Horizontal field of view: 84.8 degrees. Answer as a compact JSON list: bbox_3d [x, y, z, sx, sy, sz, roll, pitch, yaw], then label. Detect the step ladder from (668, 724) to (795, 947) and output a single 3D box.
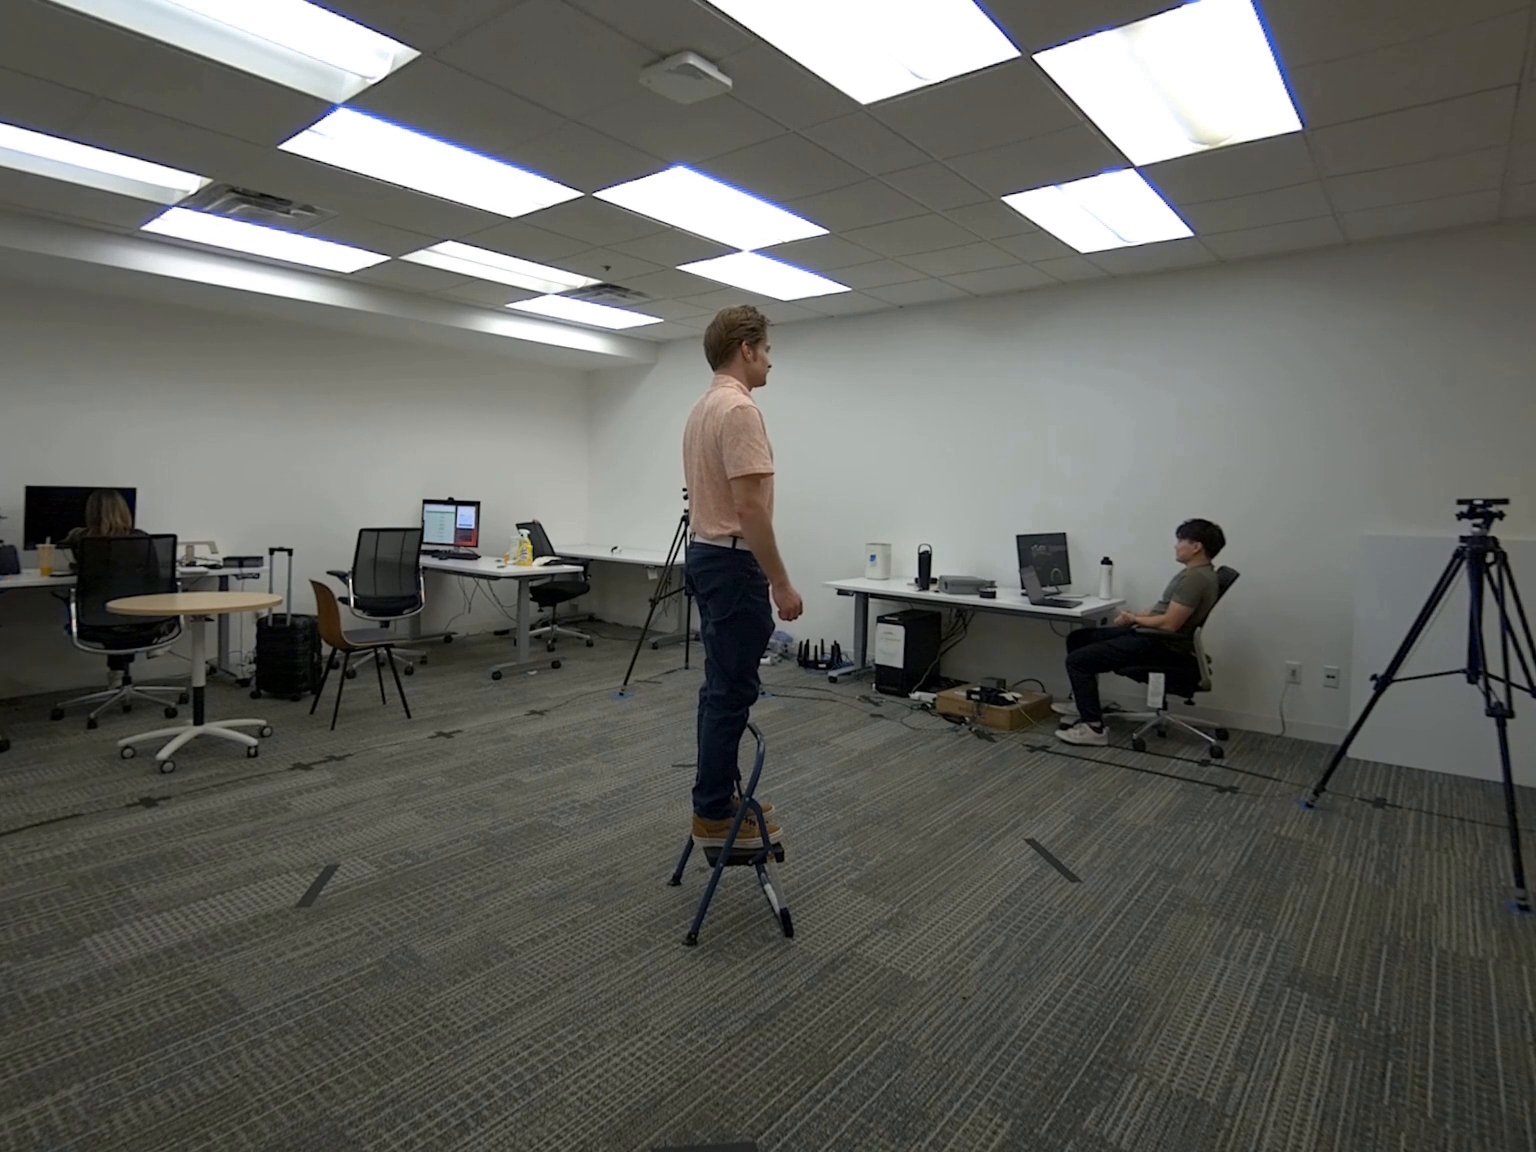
[{"bbox_3d":[-0.129,0.802,2.803,0.345,0.604,0.437,0,4,-13],"label":"step ladder"}]
